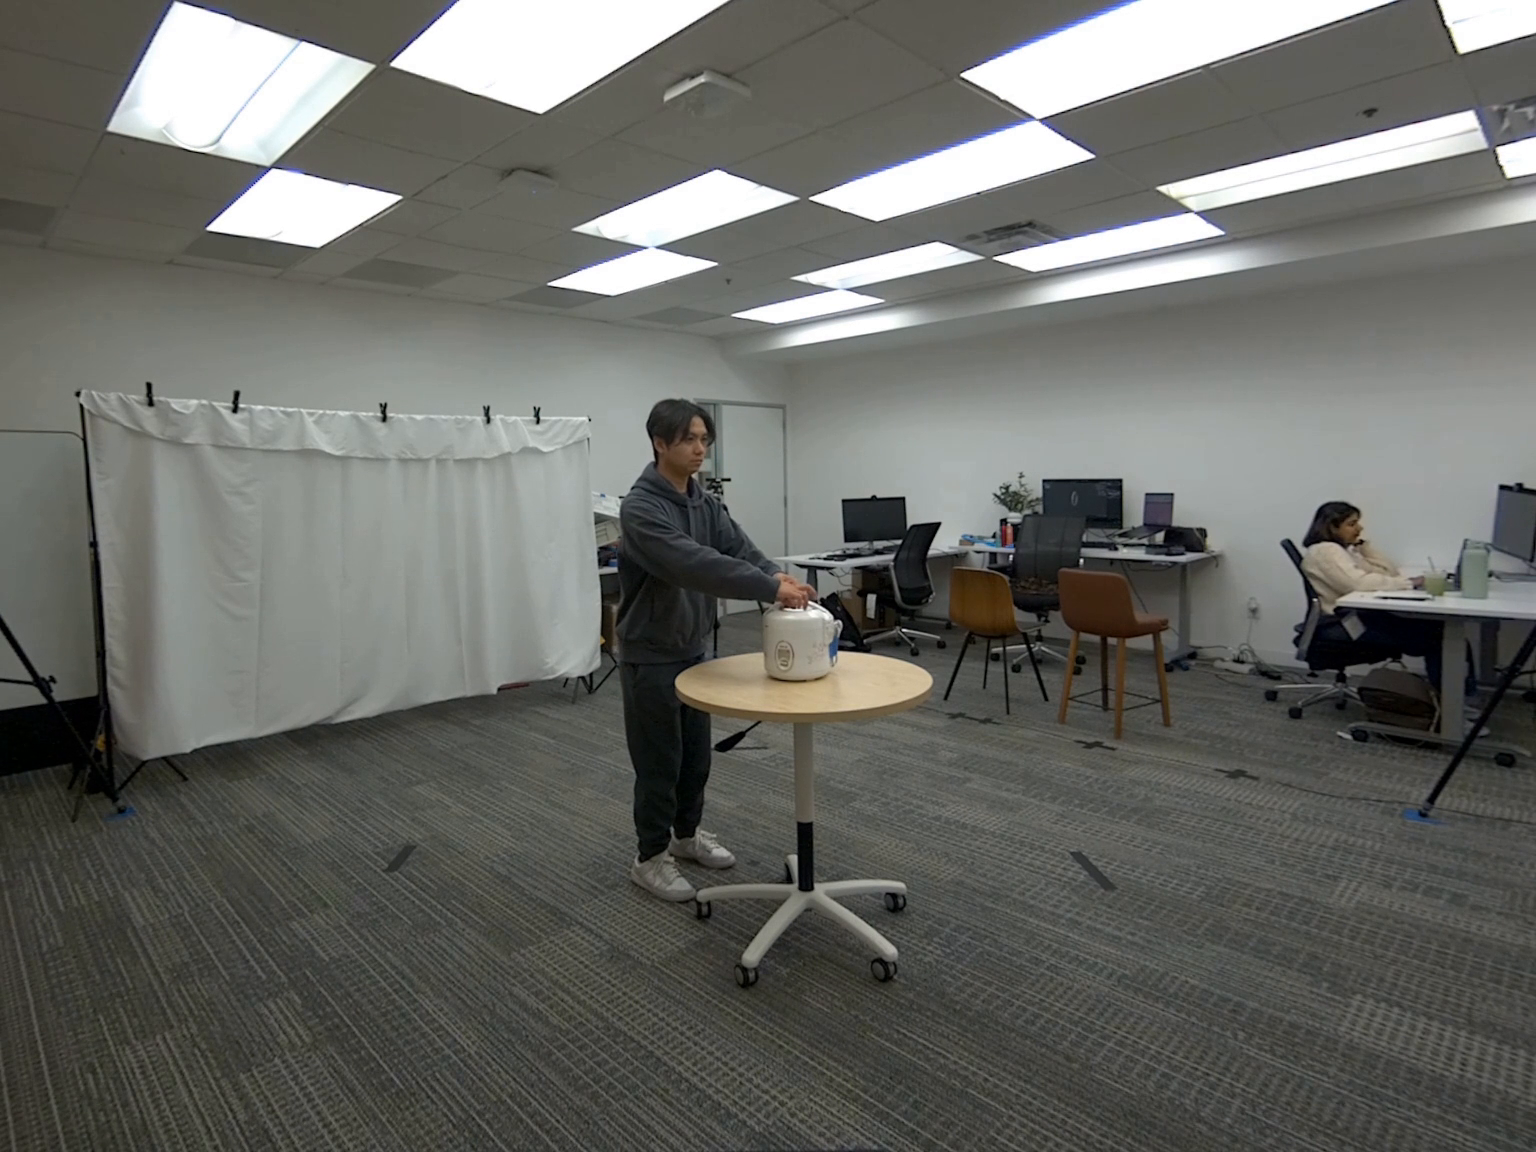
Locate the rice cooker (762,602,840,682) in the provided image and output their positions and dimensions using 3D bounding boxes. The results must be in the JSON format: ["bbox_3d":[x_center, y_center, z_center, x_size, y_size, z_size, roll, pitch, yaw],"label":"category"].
[{"bbox_3d":[0.098,0.188,2.582,0.226,0.232,0.213,0,4,26],"label":"rice cooker"}]
